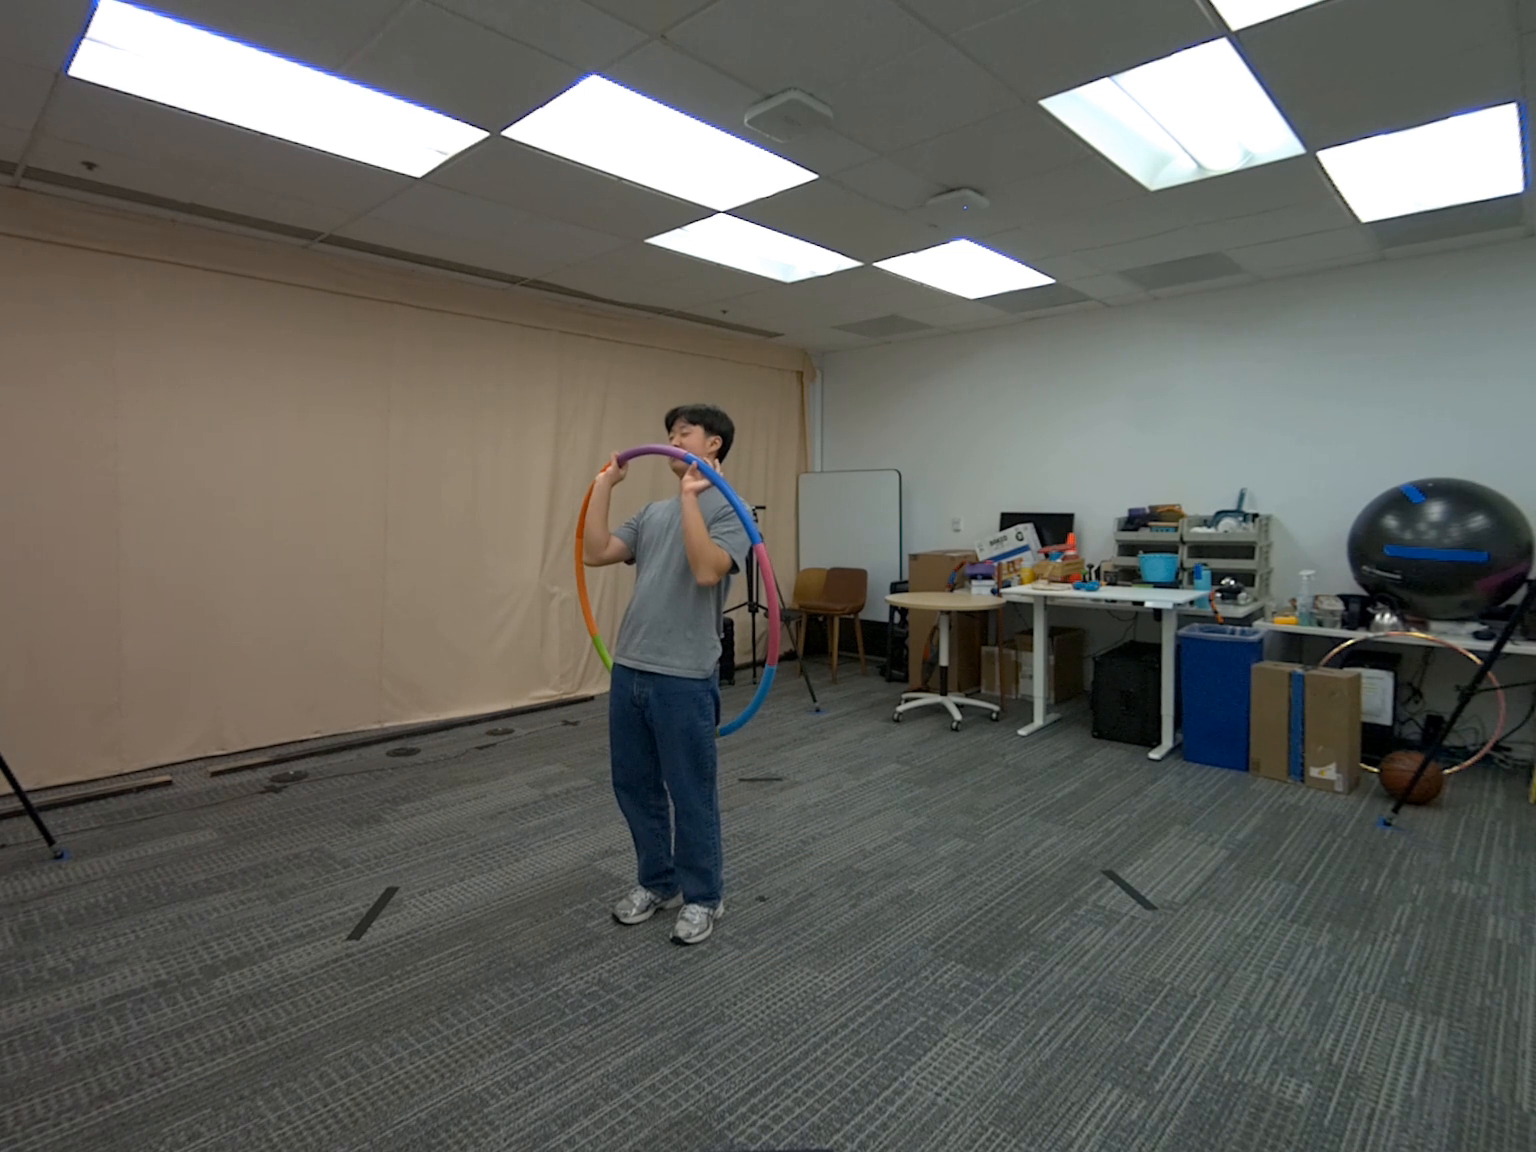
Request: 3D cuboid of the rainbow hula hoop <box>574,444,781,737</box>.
[{"bbox_3d":[-0.329,0.056,2.771,1.011,0.972,0.034,4,12,43],"label":"rainbow hula hoop"}]
